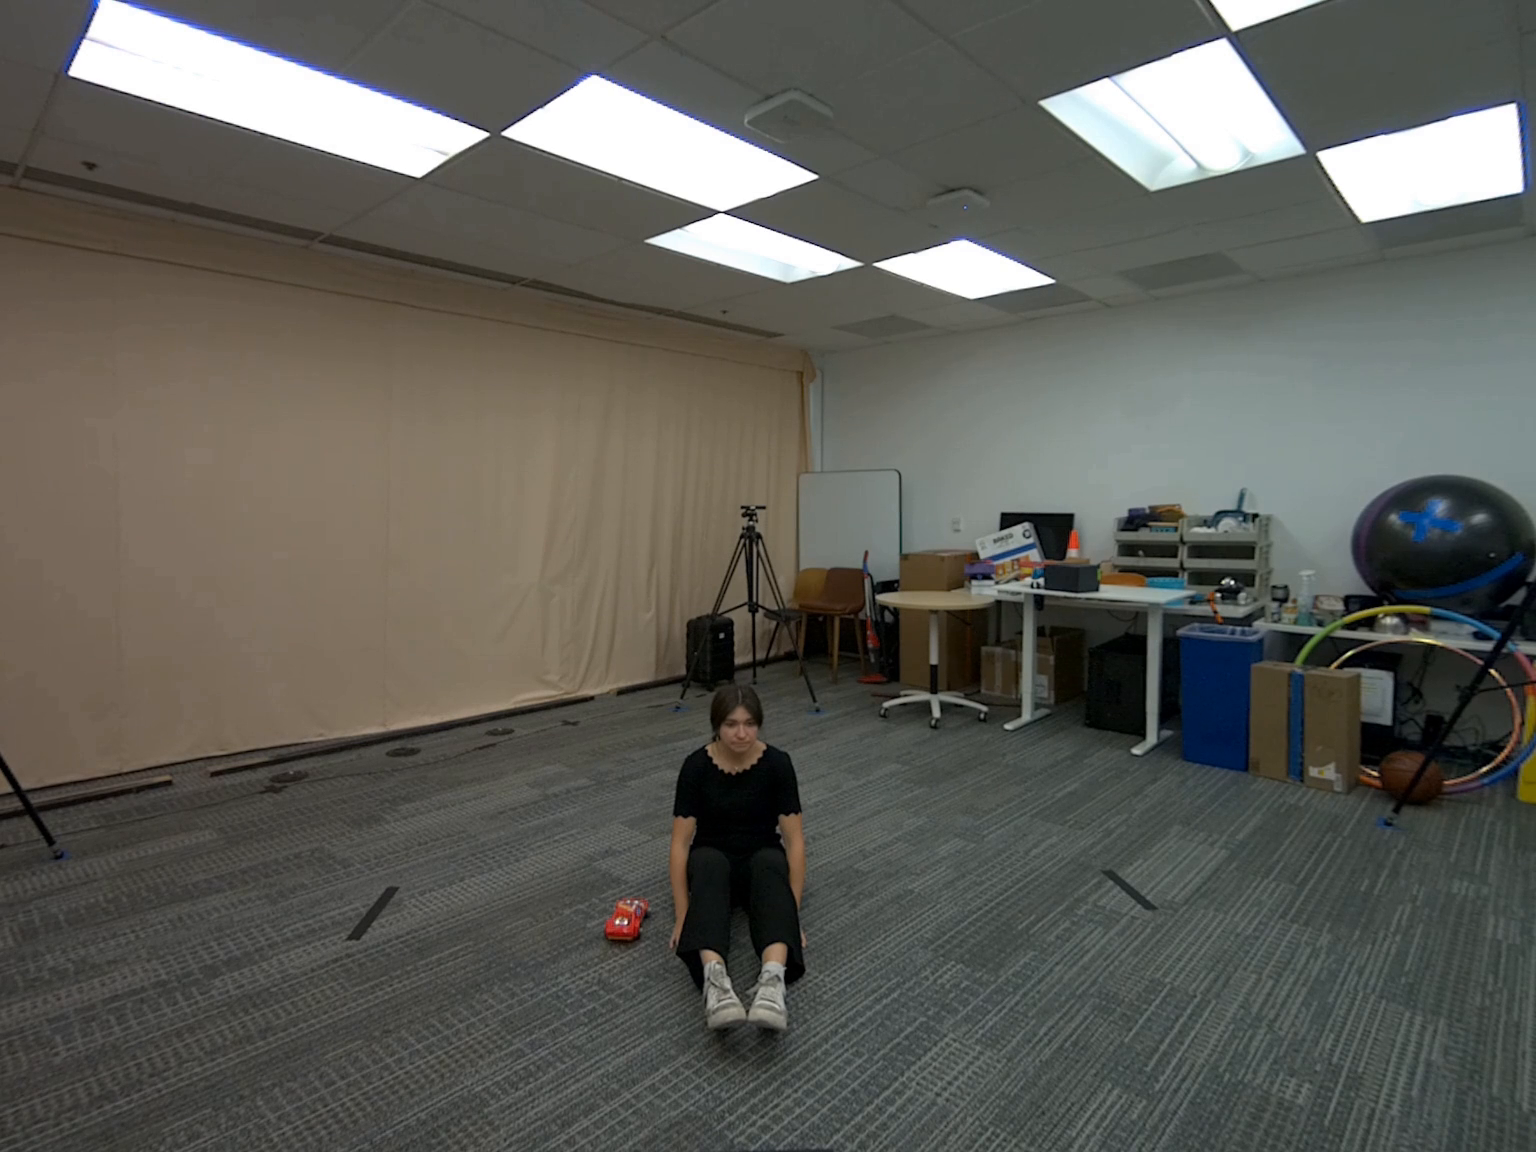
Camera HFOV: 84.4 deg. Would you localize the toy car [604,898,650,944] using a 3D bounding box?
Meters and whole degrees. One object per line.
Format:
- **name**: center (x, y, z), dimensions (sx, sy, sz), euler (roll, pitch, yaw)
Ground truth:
- **toy car**: center (-0.464, 1.138, 2.761), dimensions (0.131, 0.083, 0.252), euler (1, -7, 4)
